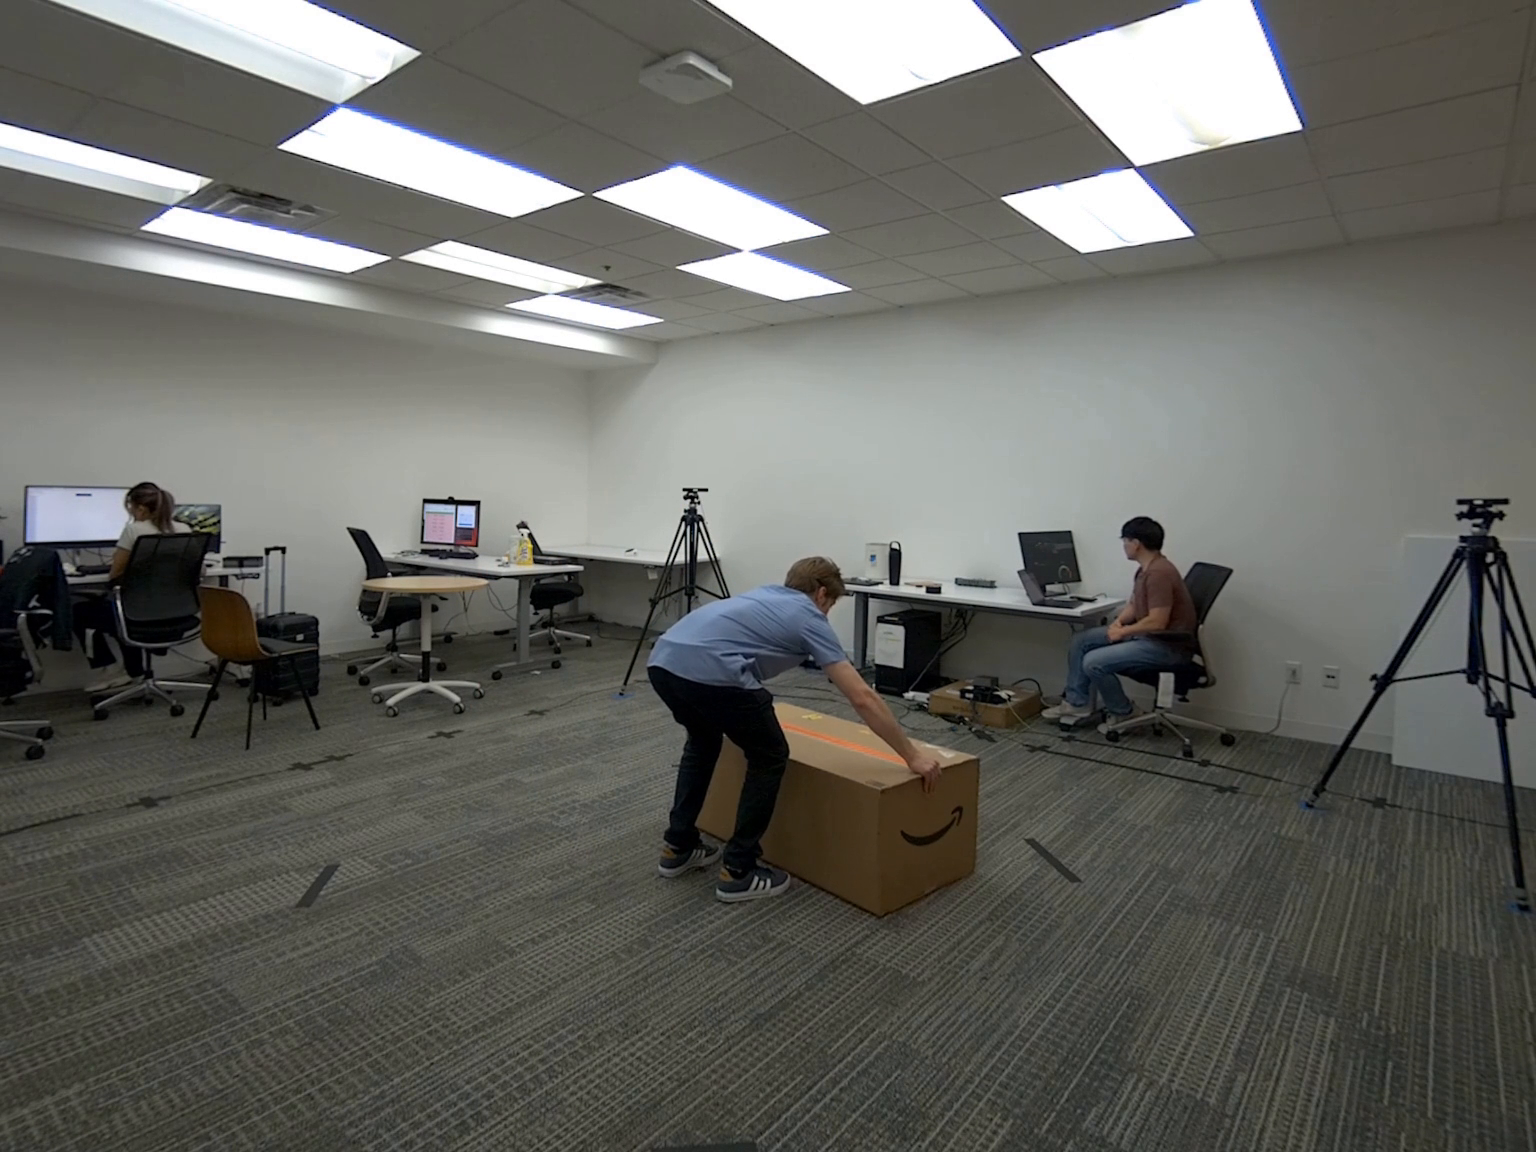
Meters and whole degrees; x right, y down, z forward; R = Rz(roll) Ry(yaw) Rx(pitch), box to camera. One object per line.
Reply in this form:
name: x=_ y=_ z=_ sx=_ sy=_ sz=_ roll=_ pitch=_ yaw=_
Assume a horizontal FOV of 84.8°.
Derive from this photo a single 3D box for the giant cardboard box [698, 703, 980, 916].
giant cardboard box: x=0.211 y=0.835 z=3.328 sx=0.567 sy=0.445 sz=1.063 roll=-4 pitch=8 yaw=-42
